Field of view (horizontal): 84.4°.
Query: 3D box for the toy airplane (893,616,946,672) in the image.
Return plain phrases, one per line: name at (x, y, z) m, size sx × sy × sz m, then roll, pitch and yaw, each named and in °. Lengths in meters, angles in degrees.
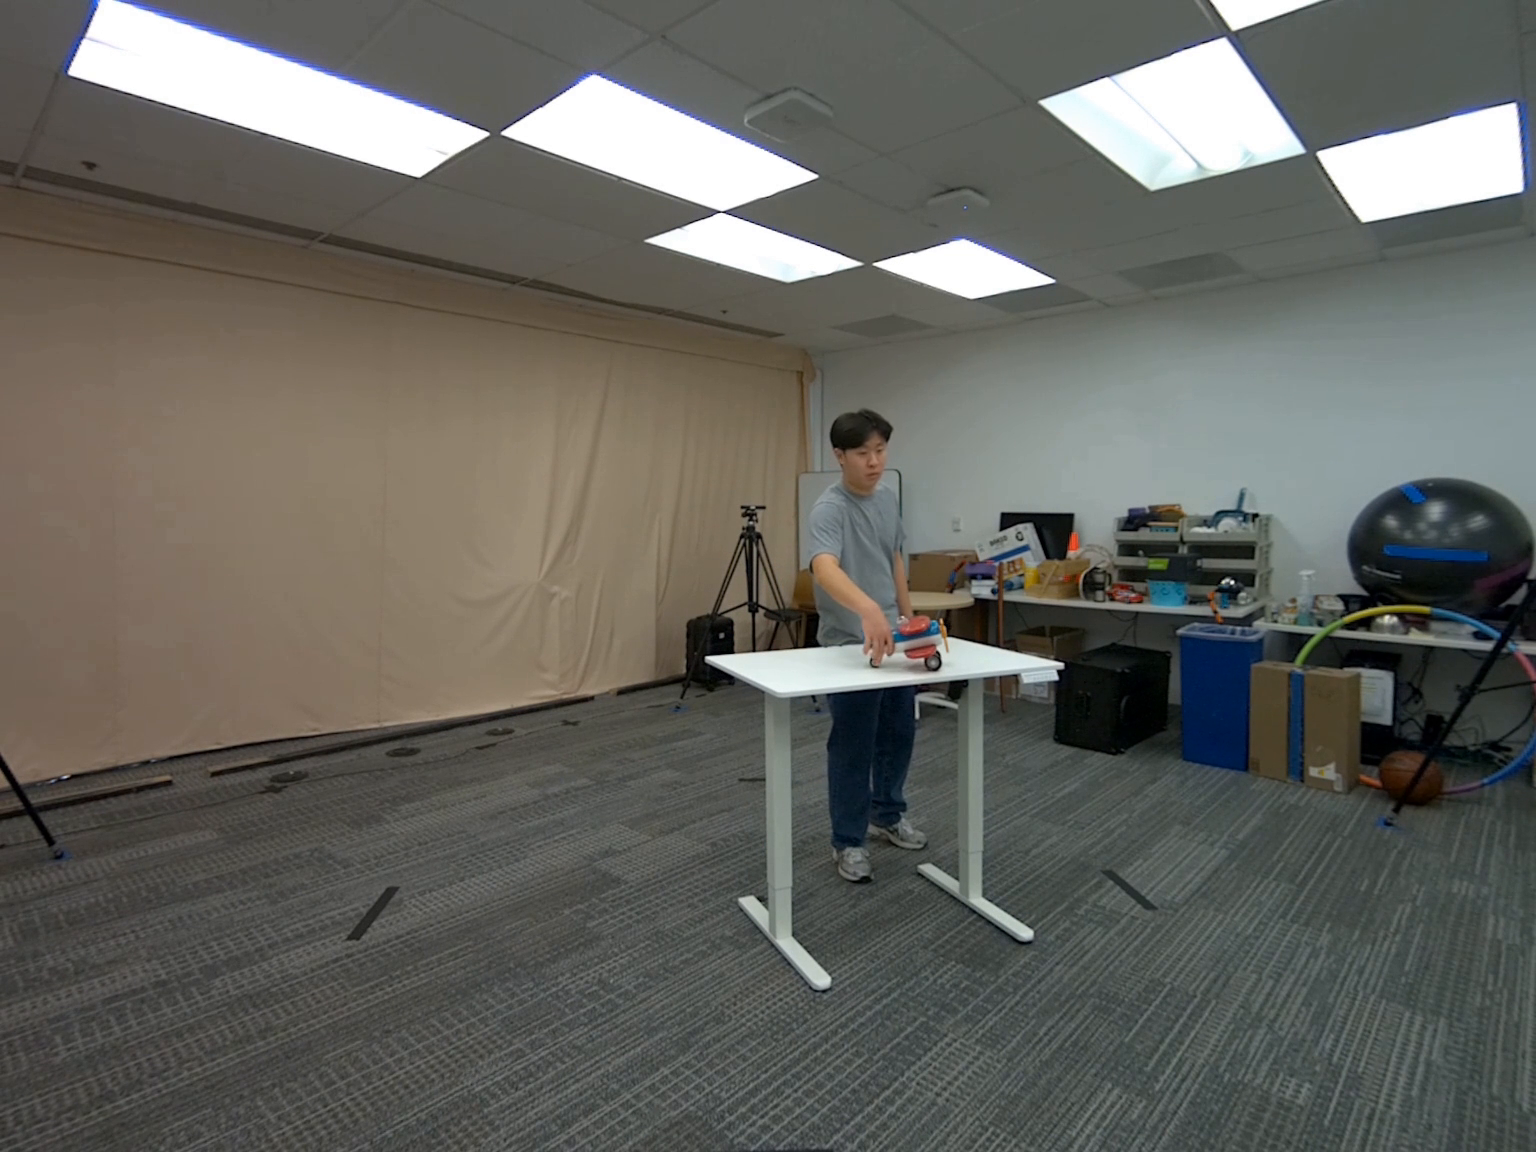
toy airplane at (0.431, 0.213, 2.616) m, size 0.254 × 0.156 × 0.256 m, roll -1°, pitch 3°, yaw -18°
